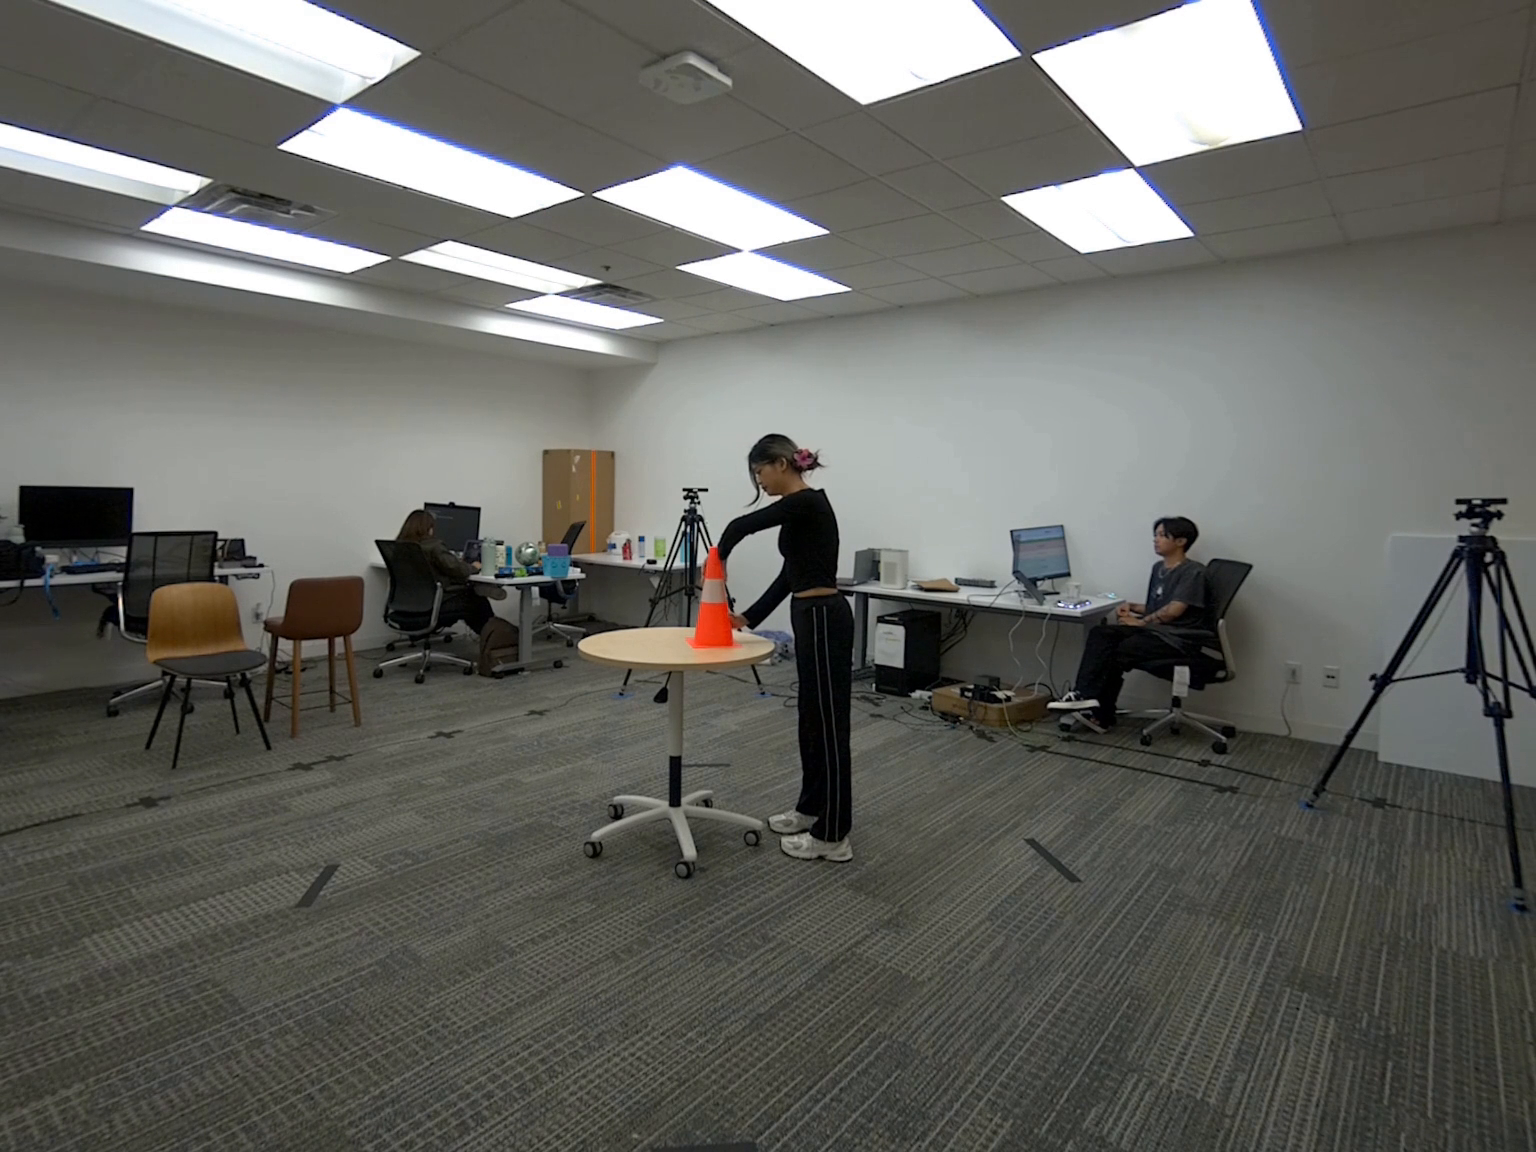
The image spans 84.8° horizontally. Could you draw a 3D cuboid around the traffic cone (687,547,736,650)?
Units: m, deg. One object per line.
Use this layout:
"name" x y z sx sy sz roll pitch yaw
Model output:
"traffic cone" -0.221 0.073 3.343 0.200 0.382 0.209 1 4 -16
